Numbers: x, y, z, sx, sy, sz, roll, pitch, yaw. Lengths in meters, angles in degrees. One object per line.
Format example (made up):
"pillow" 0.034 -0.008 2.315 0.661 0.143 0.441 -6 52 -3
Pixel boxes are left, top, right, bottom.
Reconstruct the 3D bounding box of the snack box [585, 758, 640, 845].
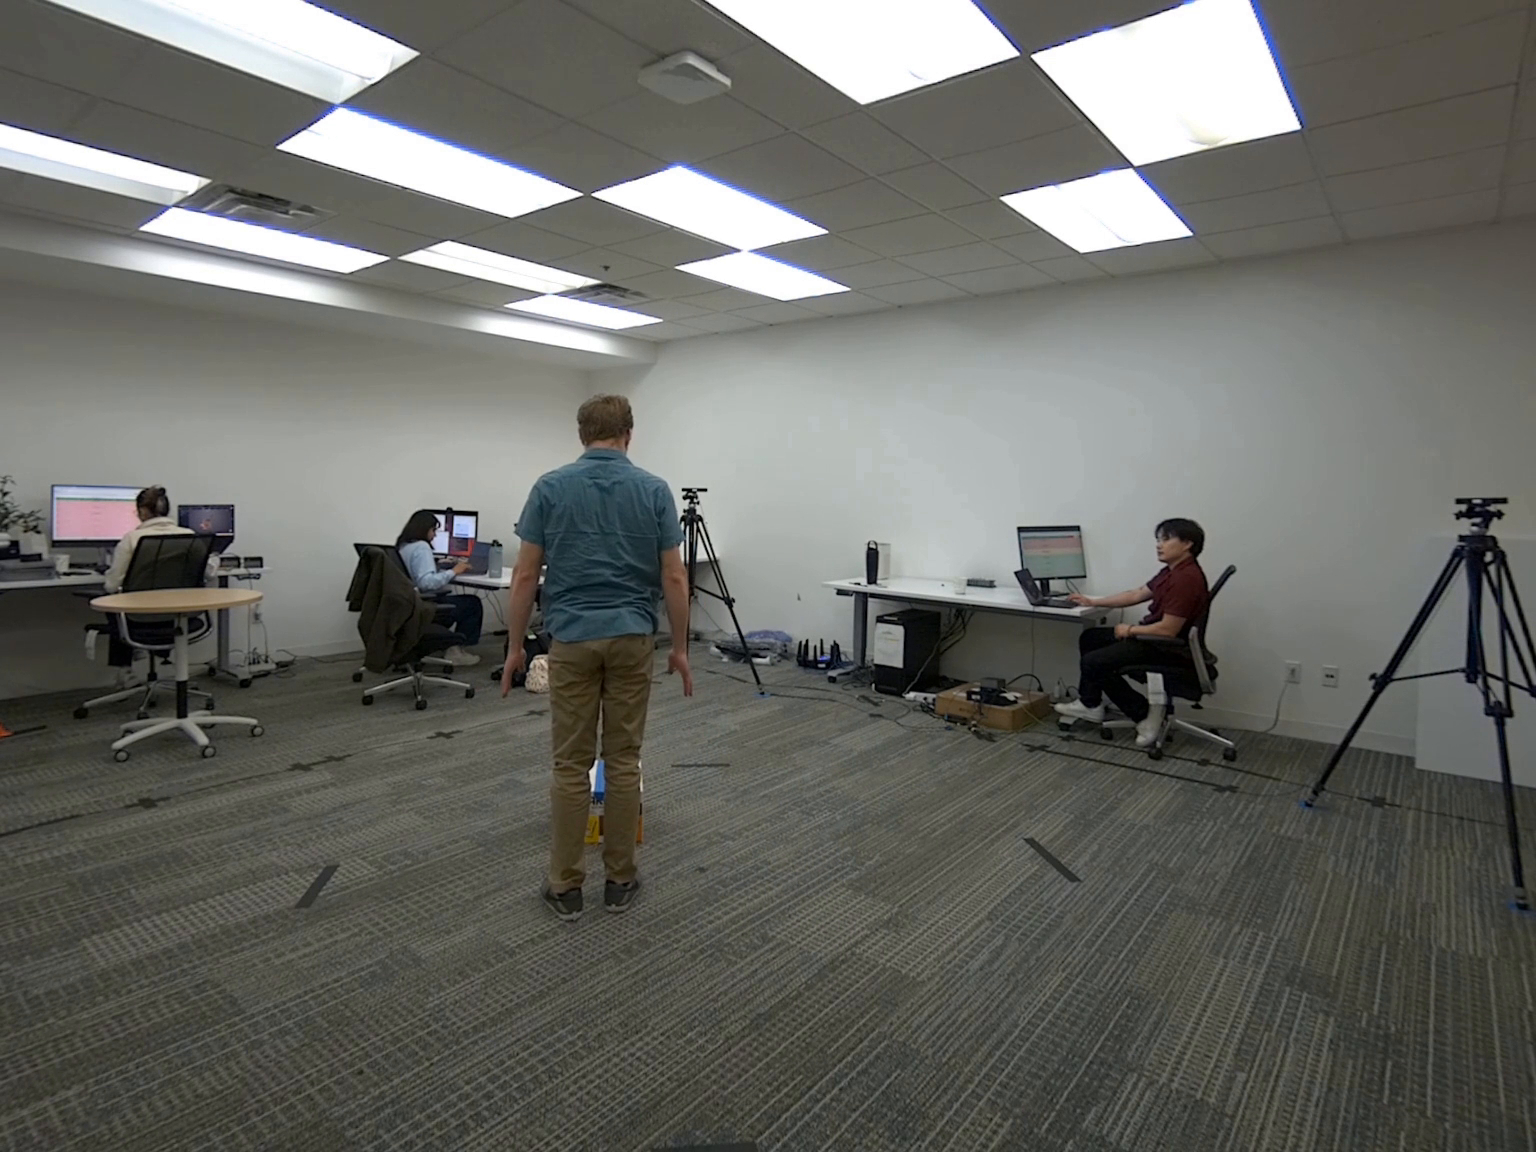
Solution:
"snack box" -0.699 0.909 3.518 0.337 0.205 0.410 1 5 -8
